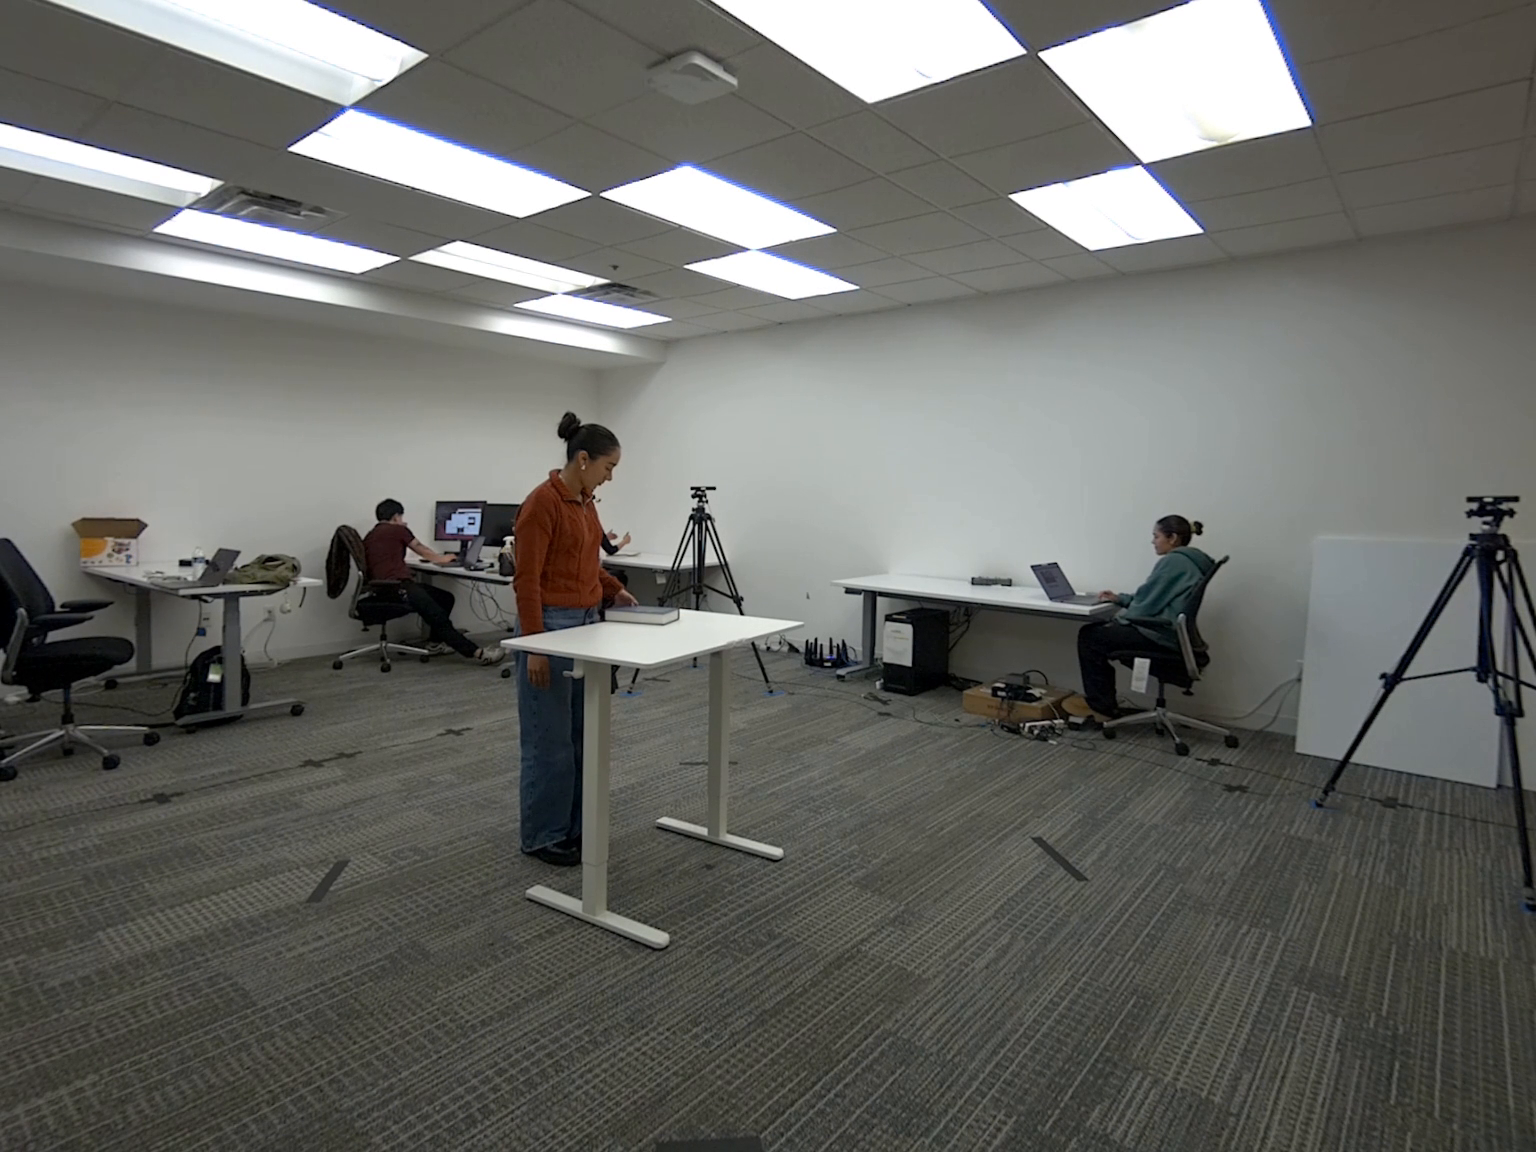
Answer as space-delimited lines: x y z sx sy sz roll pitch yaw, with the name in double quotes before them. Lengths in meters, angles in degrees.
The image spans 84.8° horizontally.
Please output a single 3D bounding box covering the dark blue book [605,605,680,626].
"dark blue book" -0.500 0.152 3.236 0.250 0.045 0.161 2 5 17
